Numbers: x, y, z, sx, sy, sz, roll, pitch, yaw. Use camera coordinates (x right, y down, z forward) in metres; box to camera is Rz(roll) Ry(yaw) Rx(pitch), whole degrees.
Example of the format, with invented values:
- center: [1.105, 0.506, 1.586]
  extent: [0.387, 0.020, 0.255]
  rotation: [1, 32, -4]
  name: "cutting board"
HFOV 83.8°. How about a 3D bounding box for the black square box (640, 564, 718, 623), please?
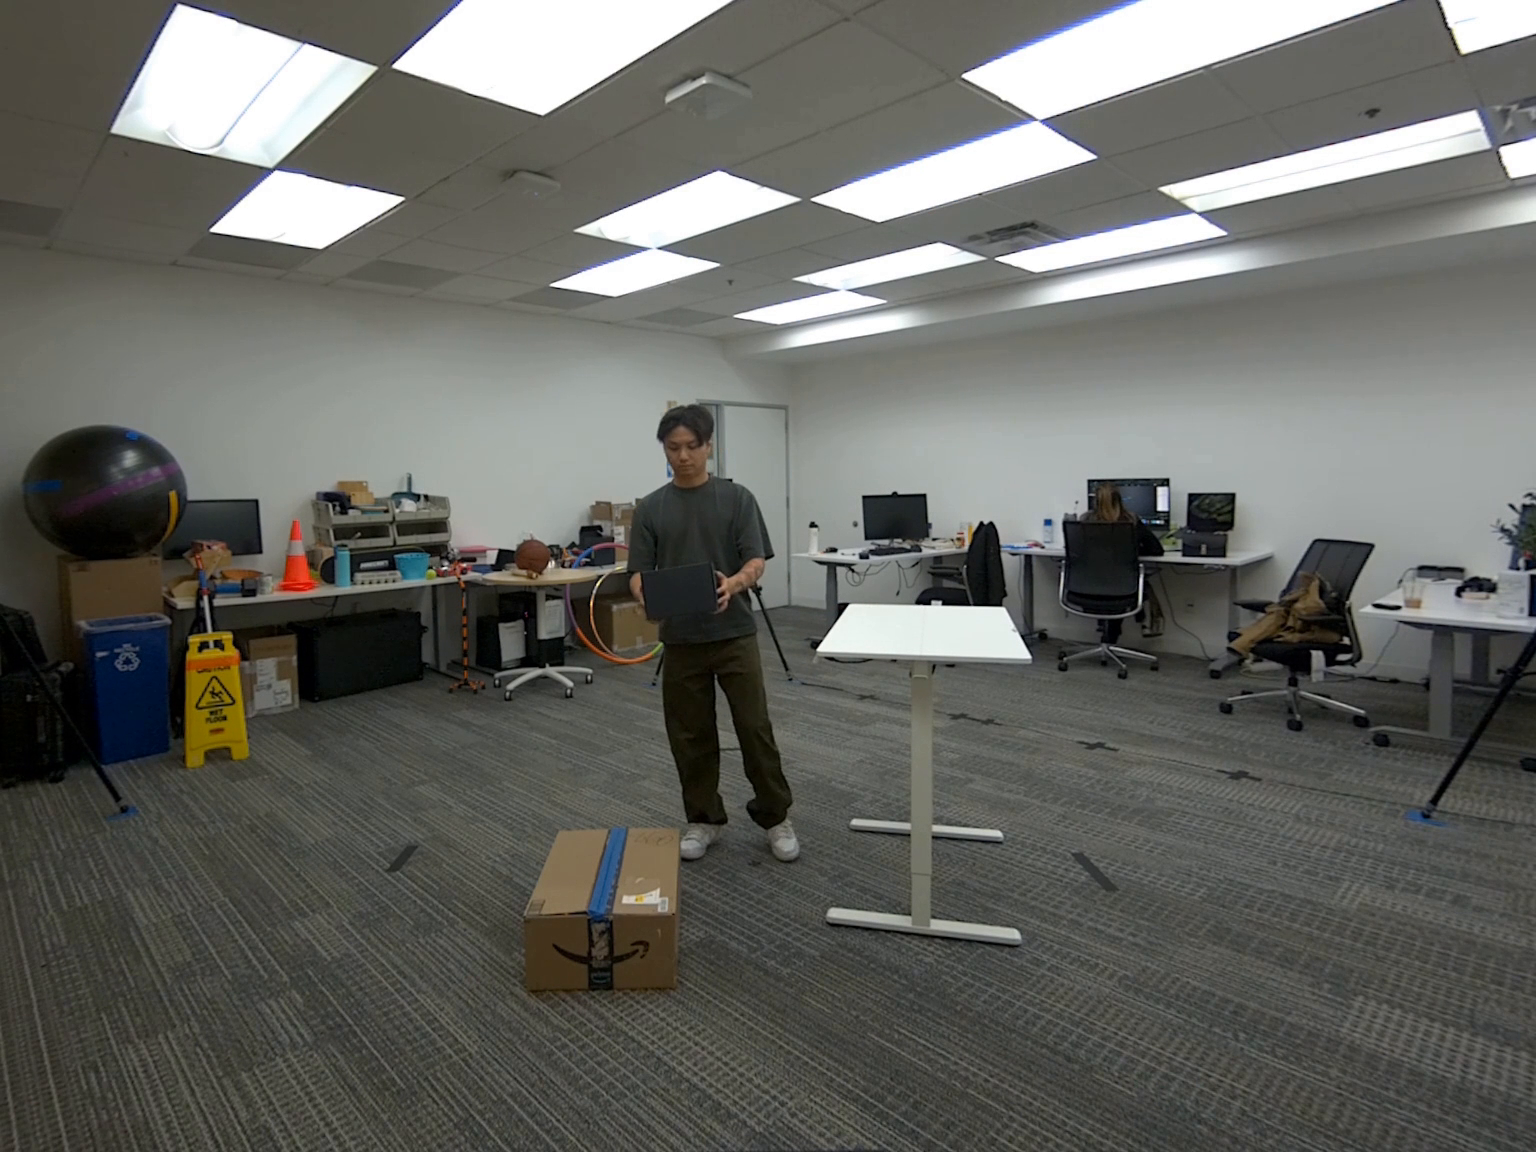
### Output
- center: [-0.290, 0.043, 2.806]
  extent: [0.228, 0.156, 0.217]
  rotation: [-8, 0, -1]
  name: "black square box"
